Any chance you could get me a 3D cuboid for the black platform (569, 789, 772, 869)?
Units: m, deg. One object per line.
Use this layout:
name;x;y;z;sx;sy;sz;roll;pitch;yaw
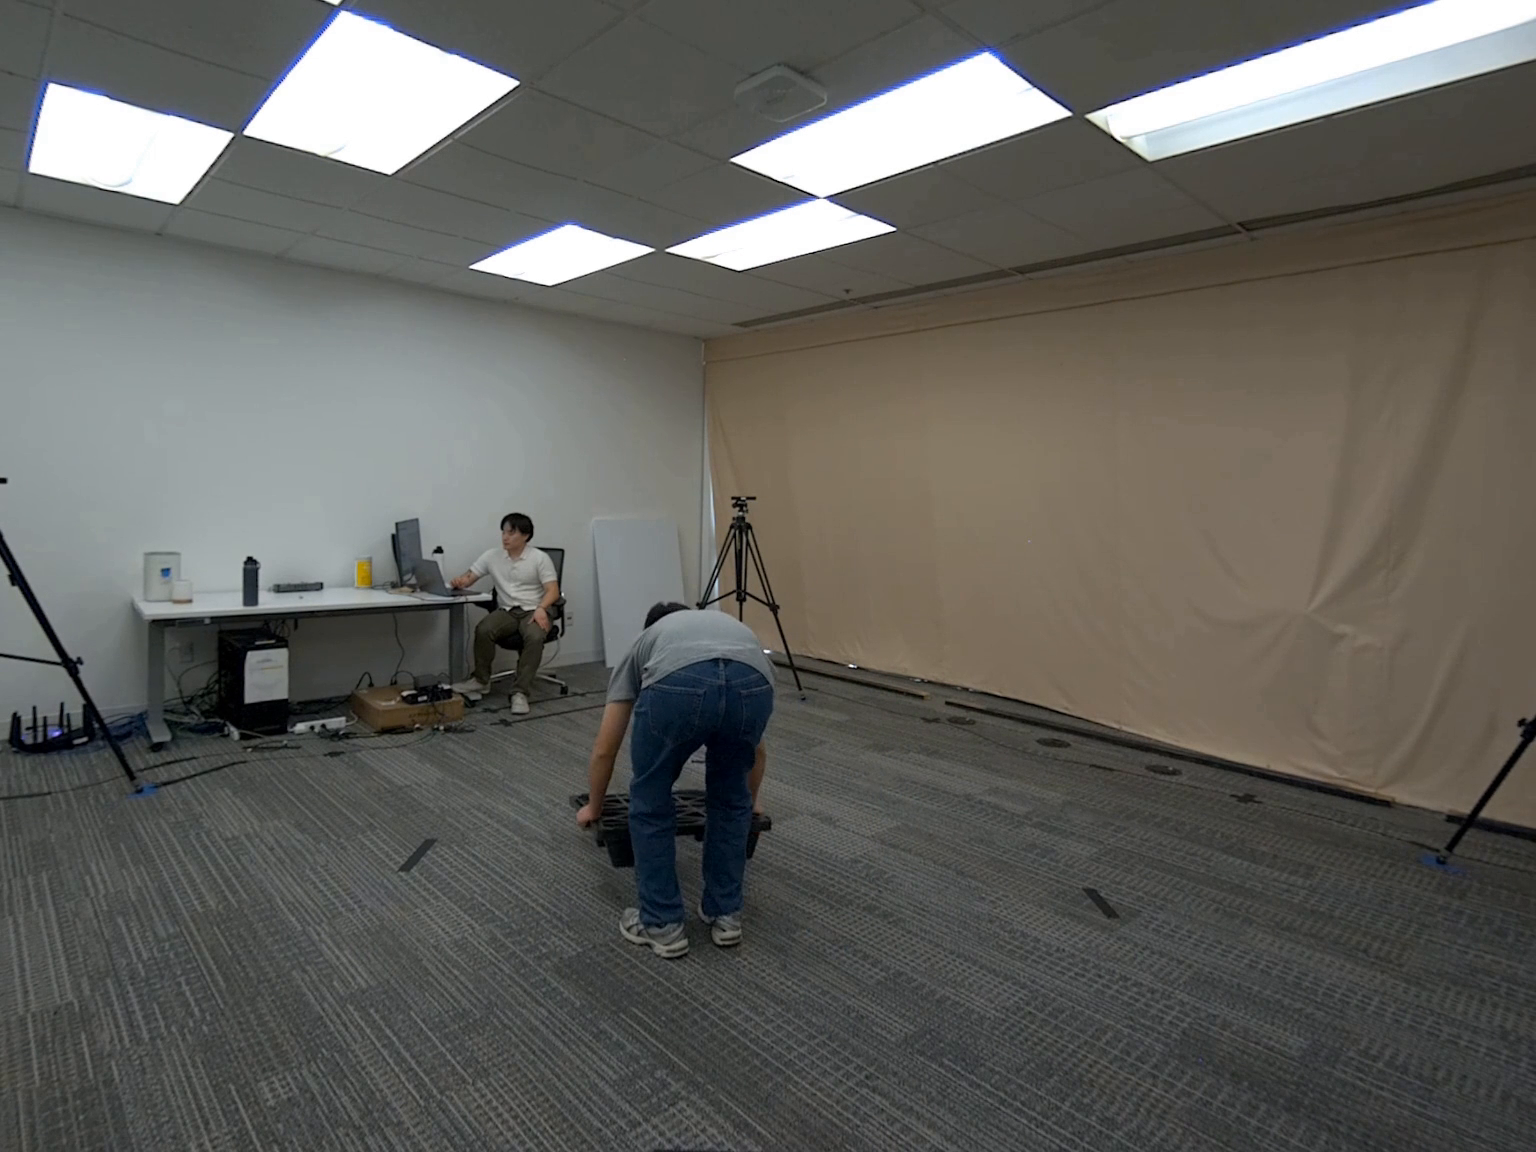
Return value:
black platform;-0.404;0.914;3.149;0.596;0.144;0.813;3;-6;-18
